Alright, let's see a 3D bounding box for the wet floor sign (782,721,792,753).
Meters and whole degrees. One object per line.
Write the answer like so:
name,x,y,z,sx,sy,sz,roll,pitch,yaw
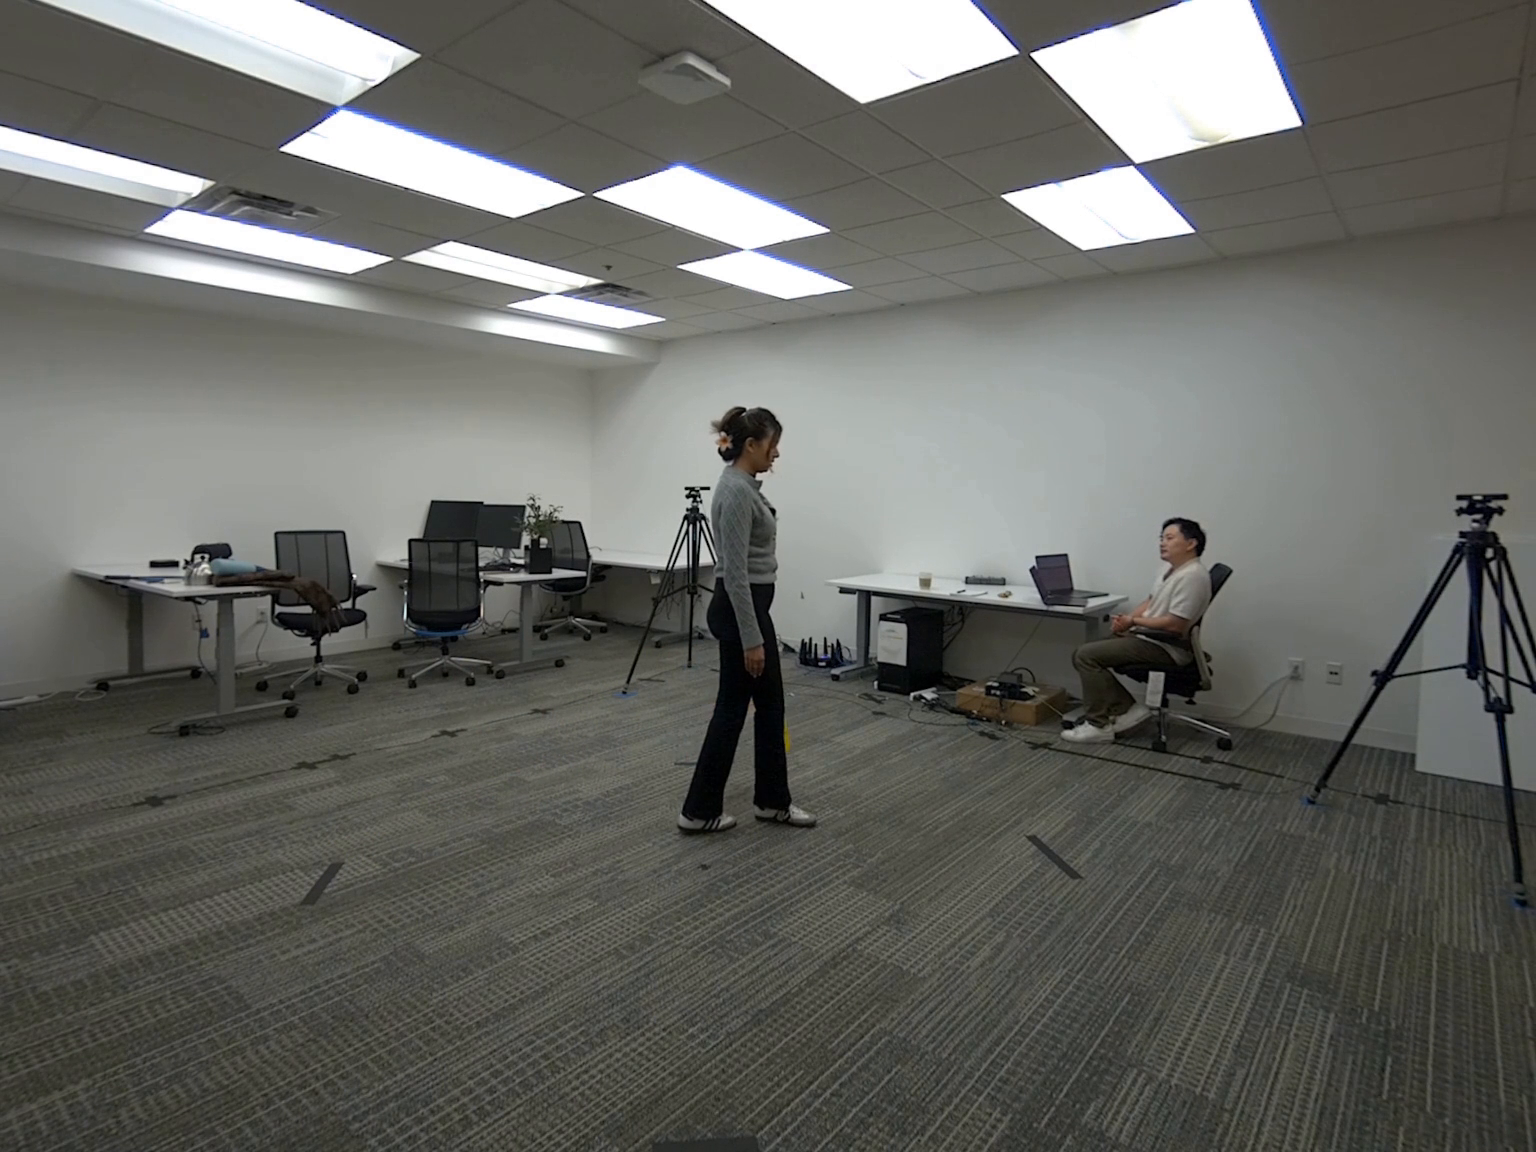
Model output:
wet floor sign,-0.077,0.487,3.836,0.297,0.640,0.277,7,11,24
